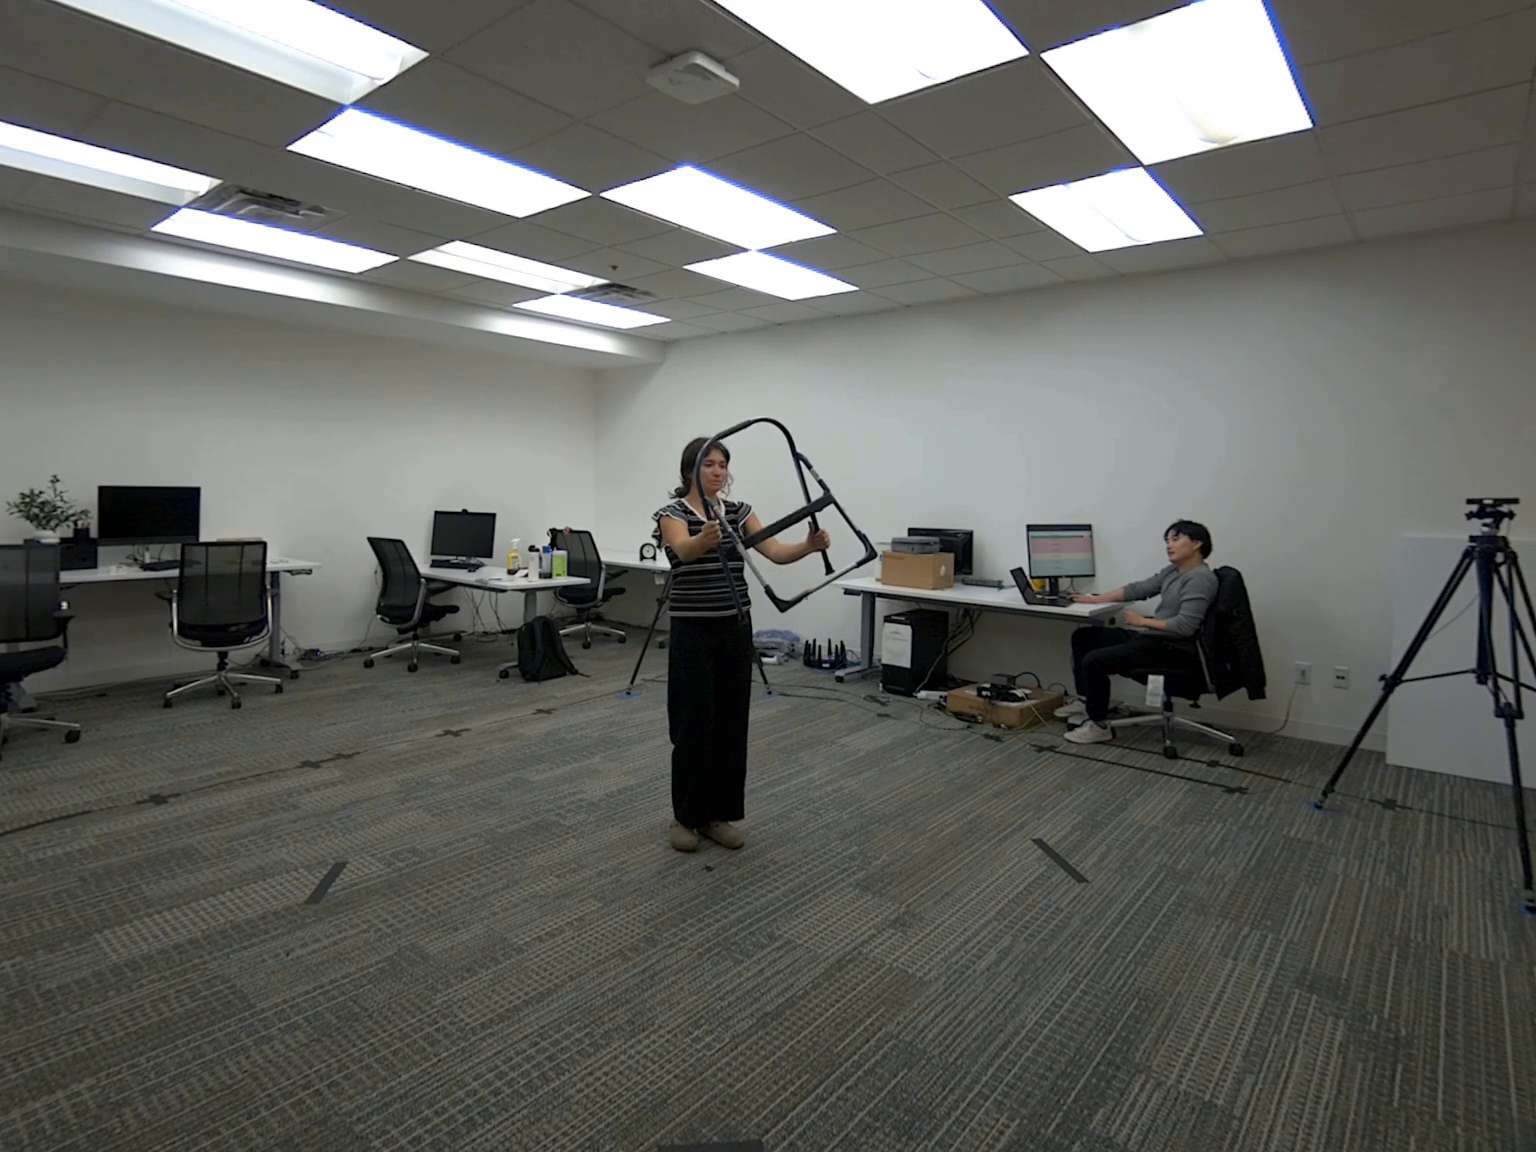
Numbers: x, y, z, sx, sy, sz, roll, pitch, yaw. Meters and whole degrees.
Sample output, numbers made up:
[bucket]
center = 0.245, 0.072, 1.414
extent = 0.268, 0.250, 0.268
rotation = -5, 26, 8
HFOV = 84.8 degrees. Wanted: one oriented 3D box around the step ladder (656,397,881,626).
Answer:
[step ladder]
center = -0.010, -0.209, 2.884
extent = 0.426, 0.607, 0.353
rotation = -29, -1, -26
